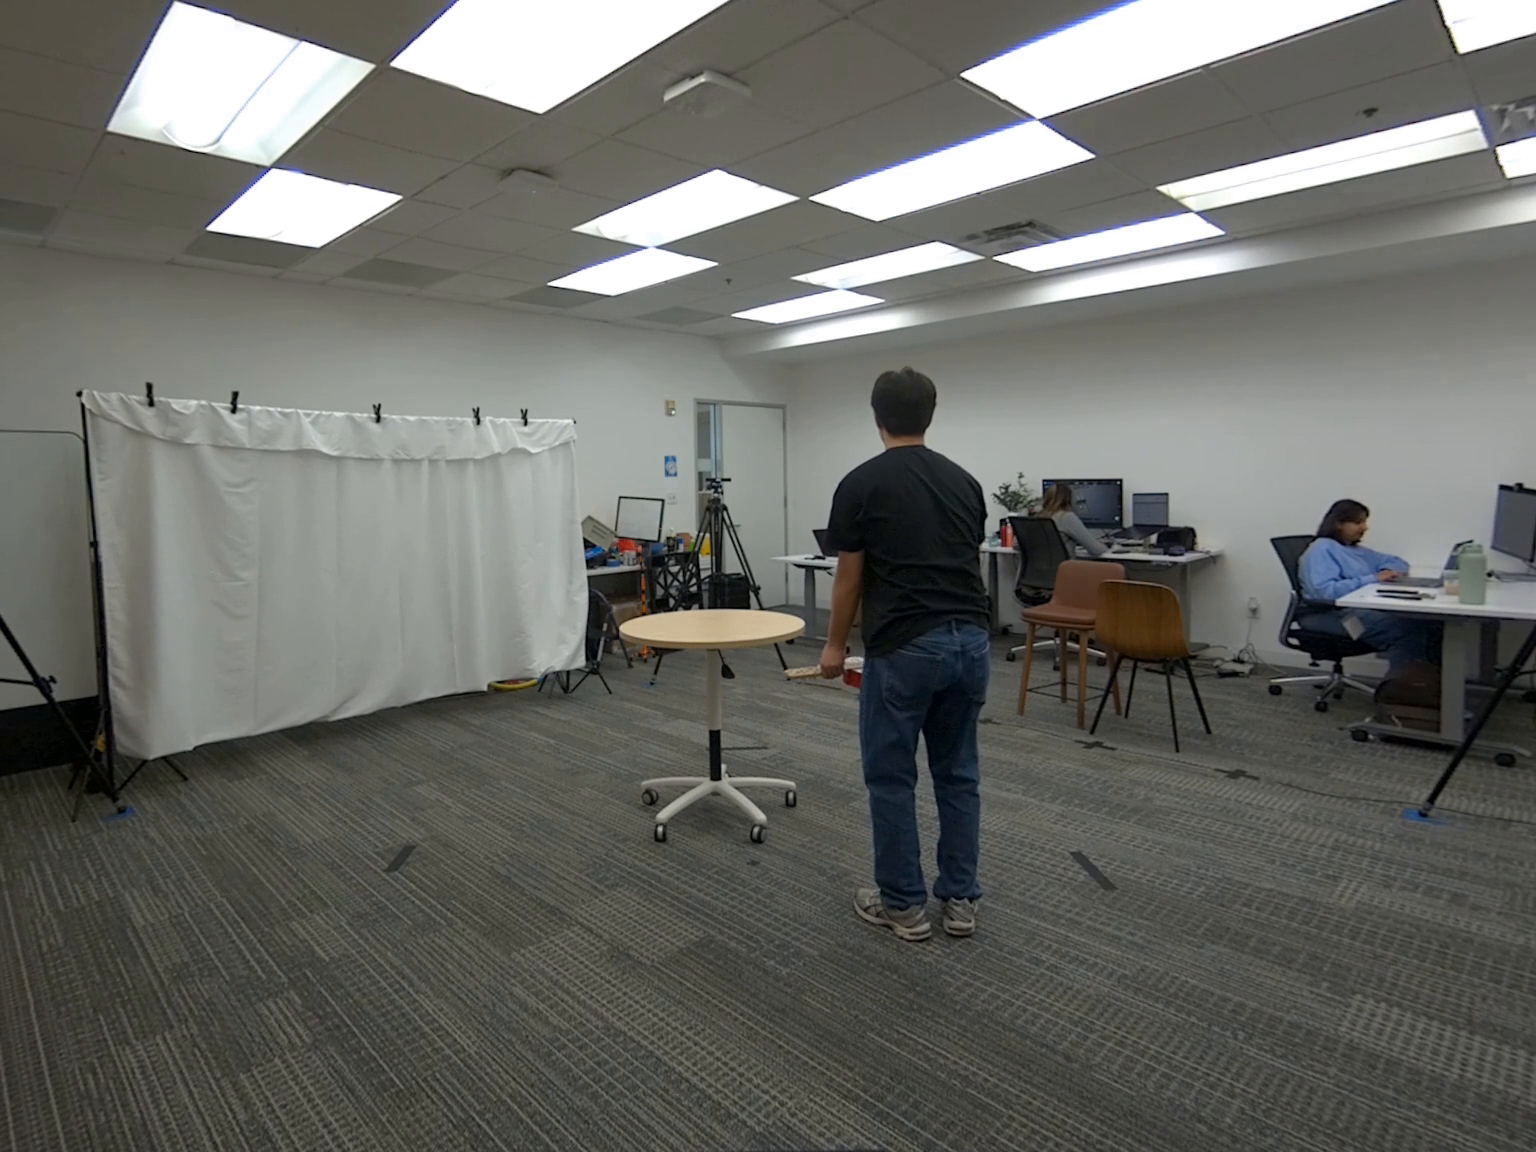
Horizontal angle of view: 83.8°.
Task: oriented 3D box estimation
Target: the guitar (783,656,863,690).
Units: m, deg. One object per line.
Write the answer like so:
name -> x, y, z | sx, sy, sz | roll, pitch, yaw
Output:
guitar -> 0.290, 0.326, 2.907 | 0.494, 0.070, 0.197 | -1, 18, -8
